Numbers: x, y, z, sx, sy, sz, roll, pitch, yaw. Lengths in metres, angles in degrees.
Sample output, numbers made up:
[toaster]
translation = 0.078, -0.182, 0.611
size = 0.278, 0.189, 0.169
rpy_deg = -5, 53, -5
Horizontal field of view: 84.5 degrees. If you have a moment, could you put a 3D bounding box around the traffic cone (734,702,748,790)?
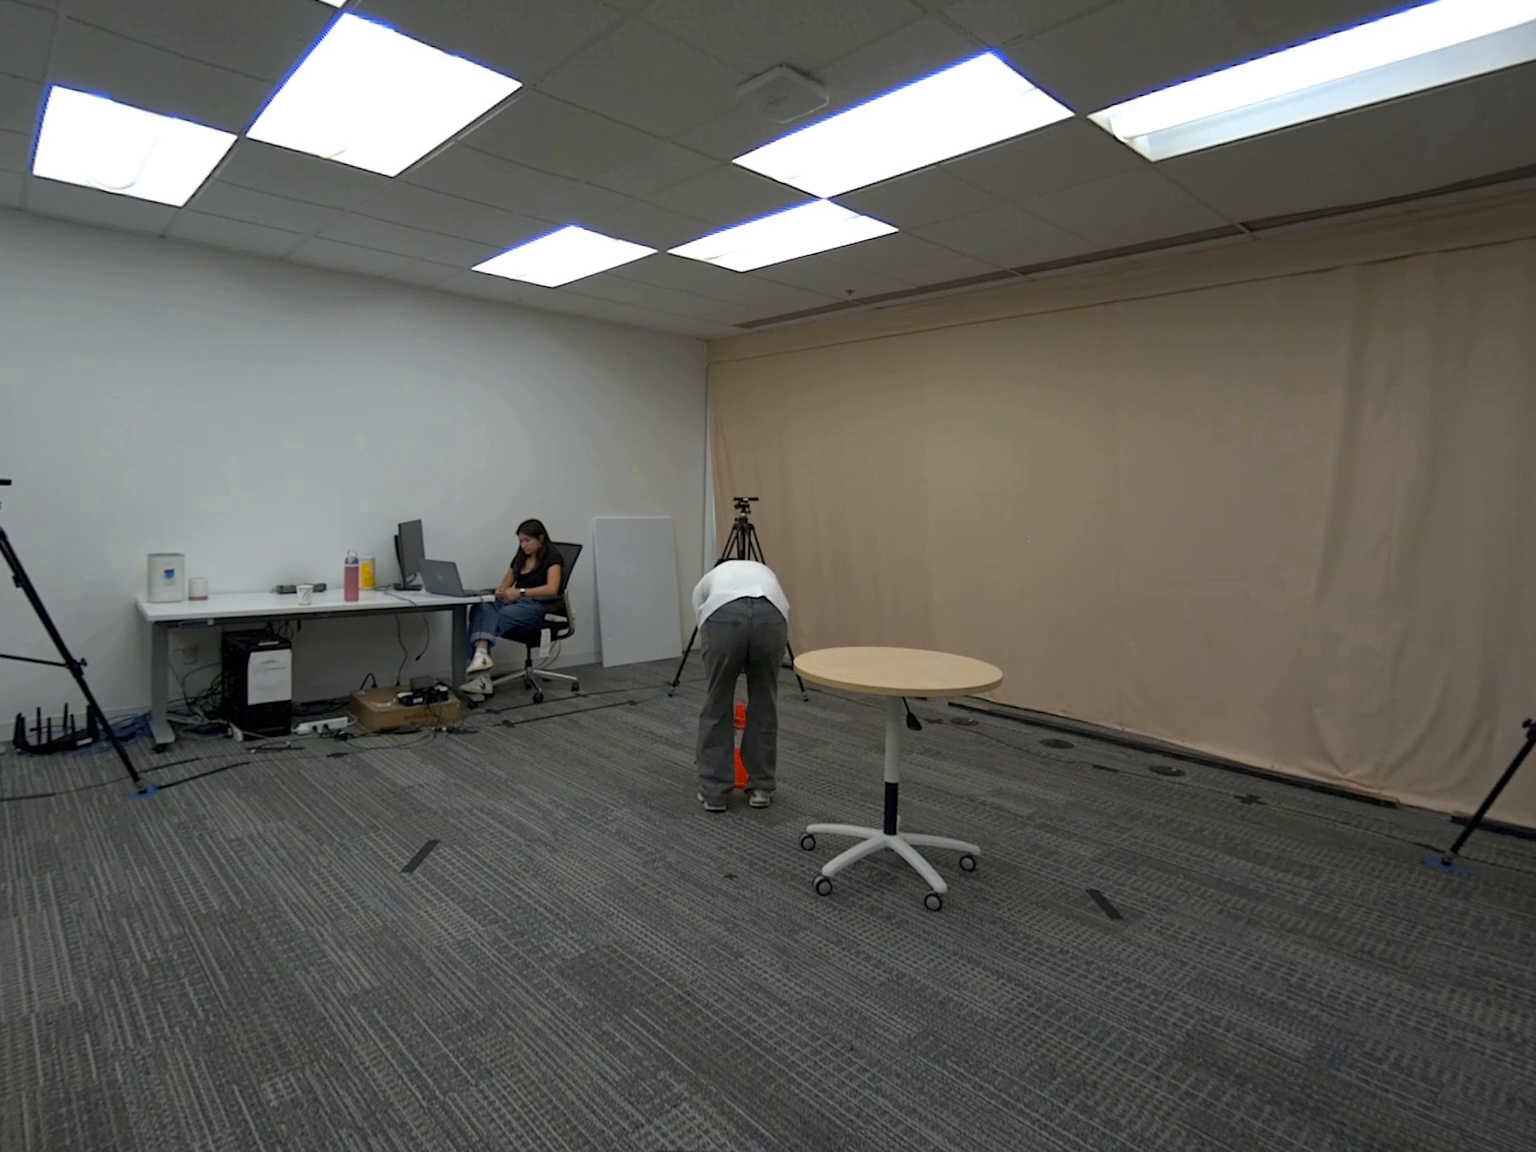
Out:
[traffic cone]
translation = -0.155, 0.800, 4.147
size = 0.201, 0.382, 0.208
rpy_deg = 3, 8, -12
